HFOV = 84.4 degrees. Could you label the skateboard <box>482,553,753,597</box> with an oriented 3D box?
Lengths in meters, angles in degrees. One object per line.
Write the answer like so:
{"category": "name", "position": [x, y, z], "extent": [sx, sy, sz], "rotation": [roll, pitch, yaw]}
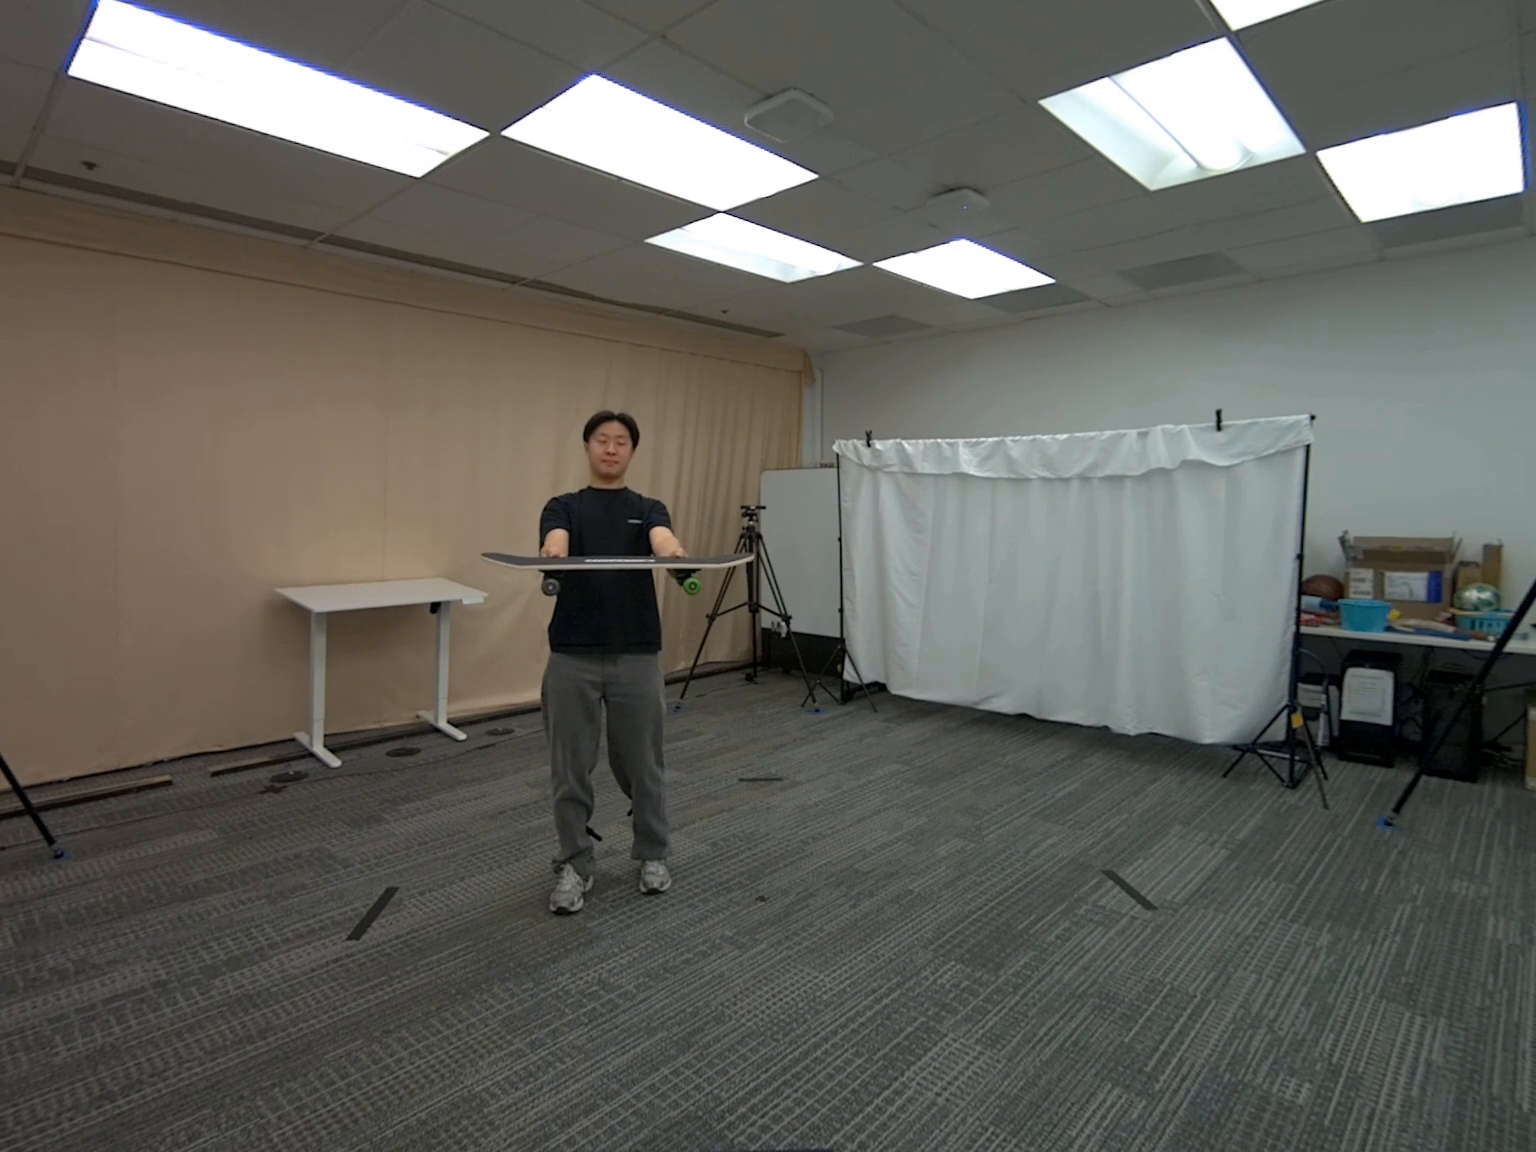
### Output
{"category": "skateboard", "position": [-0.426, -0.010, 2.447], "extent": [0.780, 0.110, 0.196], "rotation": [0, 8, -6]}
